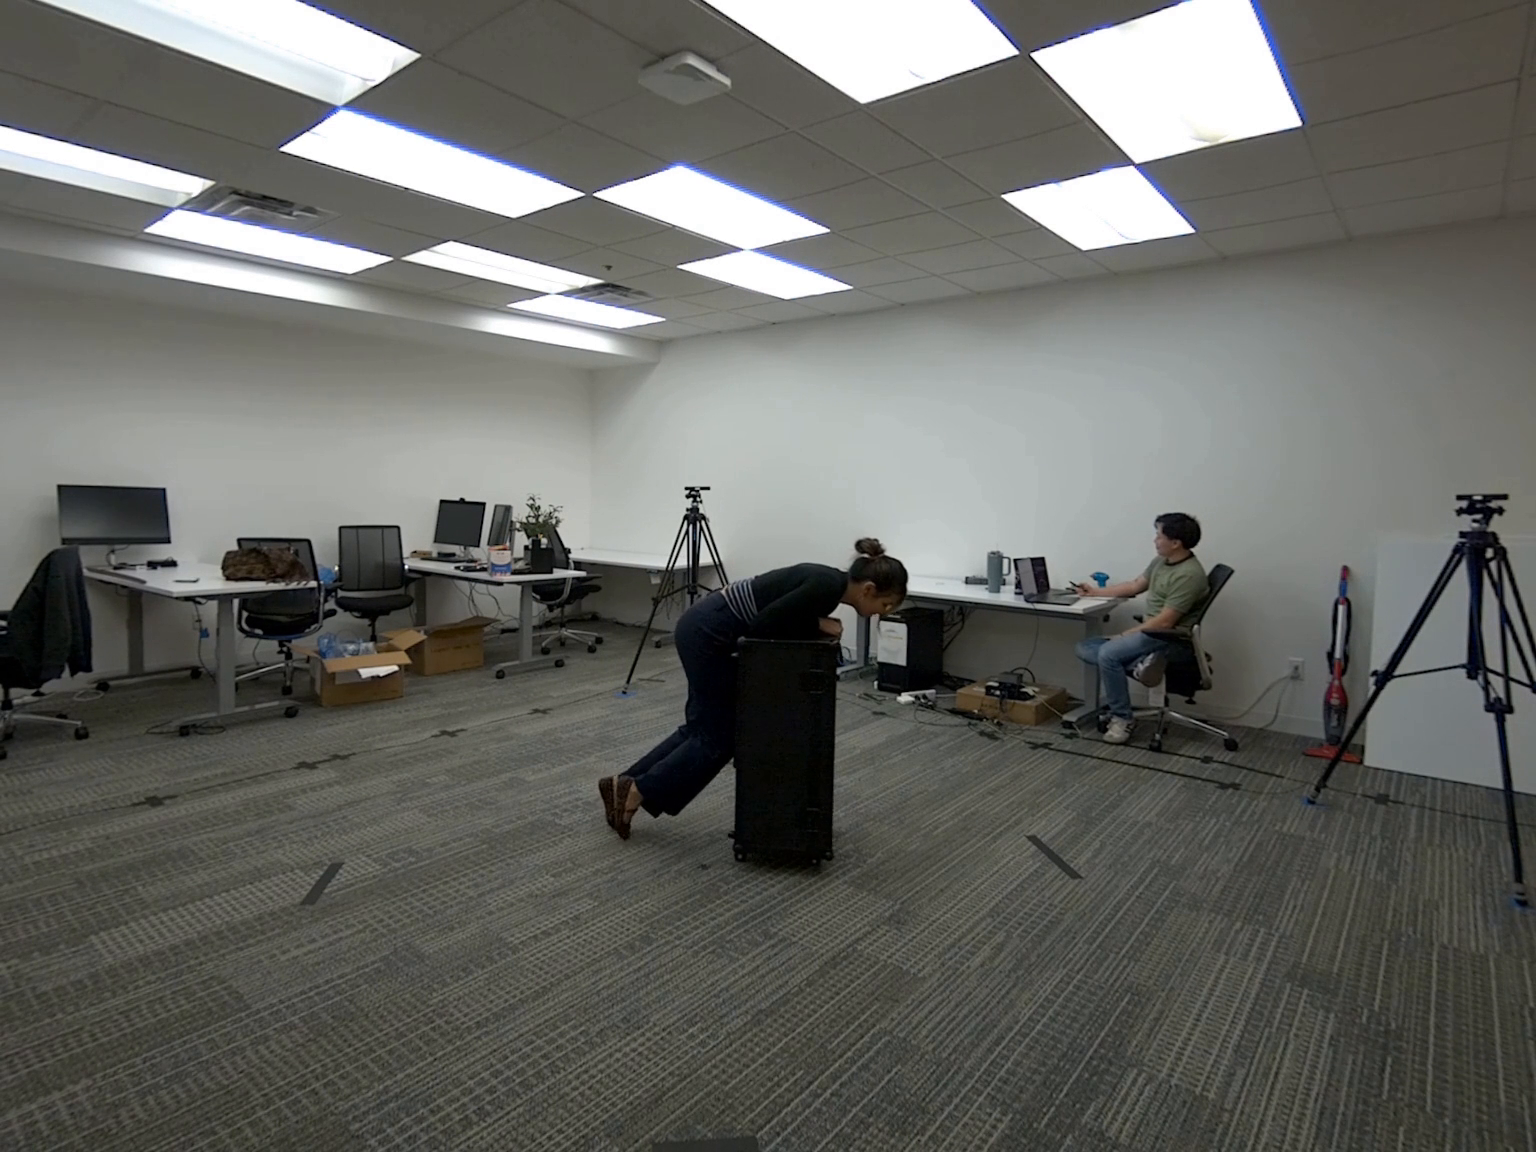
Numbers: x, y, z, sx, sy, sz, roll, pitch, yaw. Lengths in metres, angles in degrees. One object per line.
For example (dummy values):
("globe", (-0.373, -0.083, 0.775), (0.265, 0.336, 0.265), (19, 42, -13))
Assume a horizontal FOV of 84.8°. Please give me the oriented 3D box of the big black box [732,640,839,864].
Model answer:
("big black box", (0.059, 0.633, 3.261), (0.399, 0.859, 0.520), (0, 3, 4))
